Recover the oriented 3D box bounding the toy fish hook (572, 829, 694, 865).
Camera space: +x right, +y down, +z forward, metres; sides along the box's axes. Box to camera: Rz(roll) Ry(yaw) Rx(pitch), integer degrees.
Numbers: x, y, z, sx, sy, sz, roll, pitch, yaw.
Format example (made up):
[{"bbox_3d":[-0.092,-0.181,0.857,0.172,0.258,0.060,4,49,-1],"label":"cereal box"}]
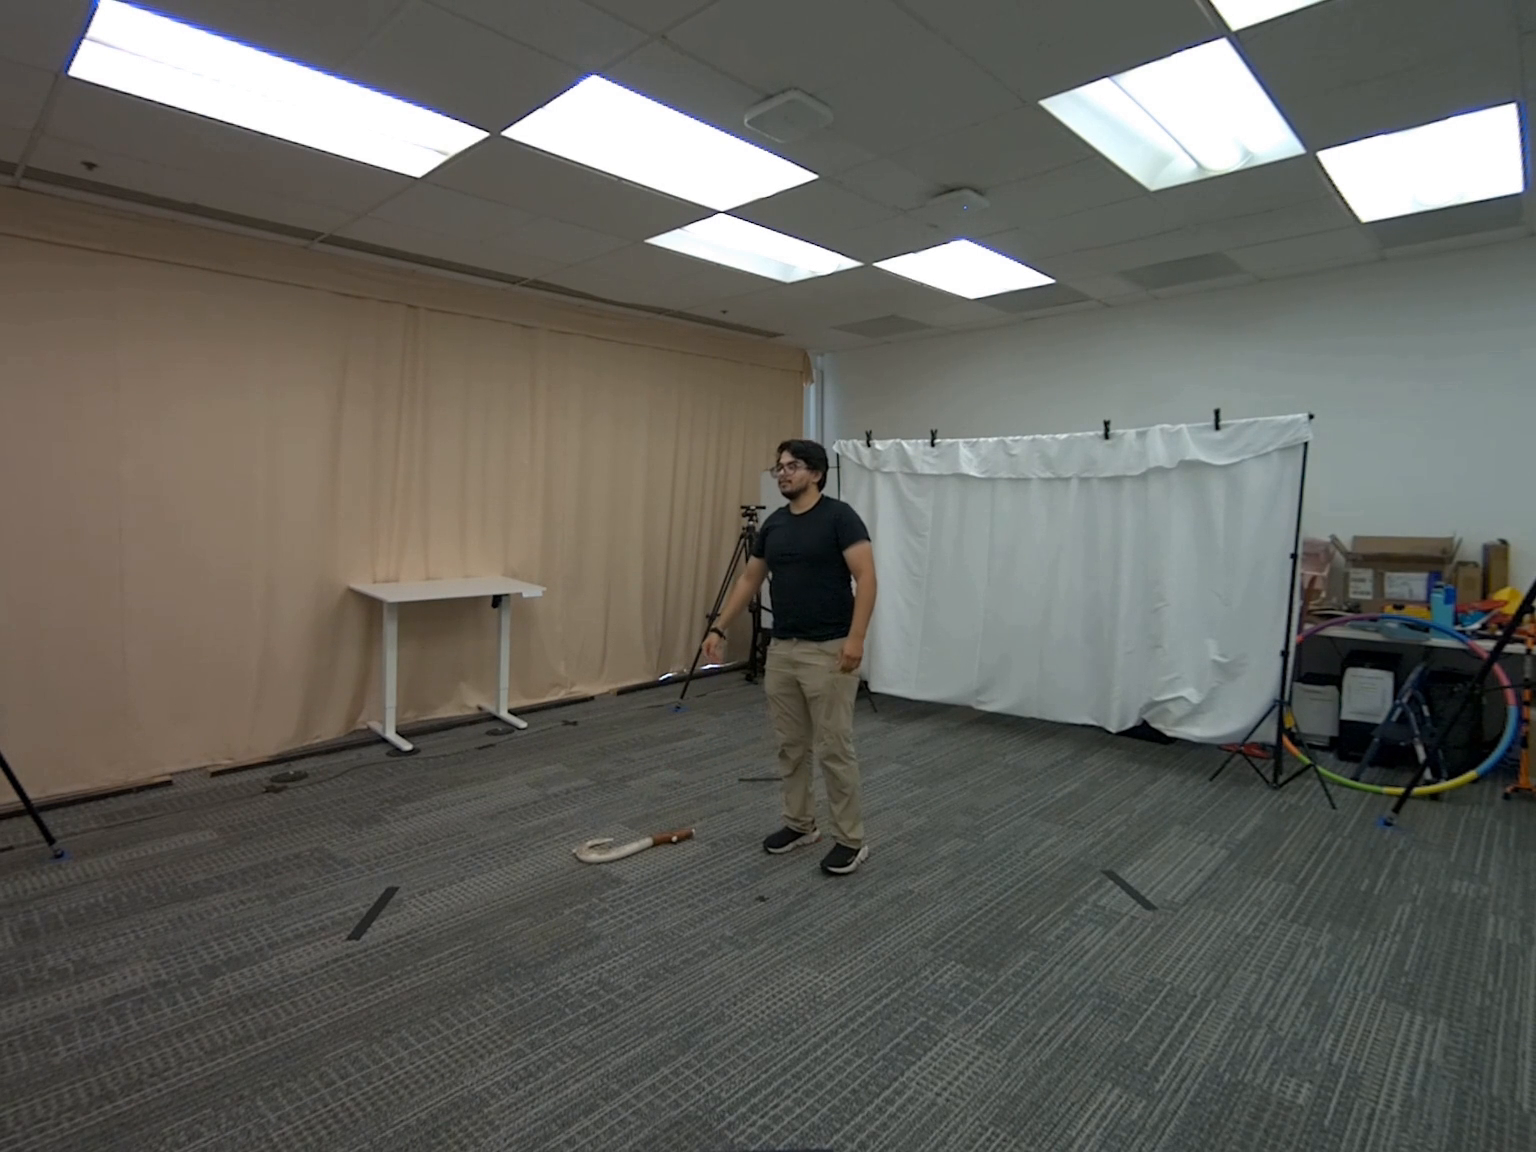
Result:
[{"bbox_3d":[-0.553,1.092,3.461,0.493,0.048,0.231,-2,5,-30],"label":"toy fish hook"}]
